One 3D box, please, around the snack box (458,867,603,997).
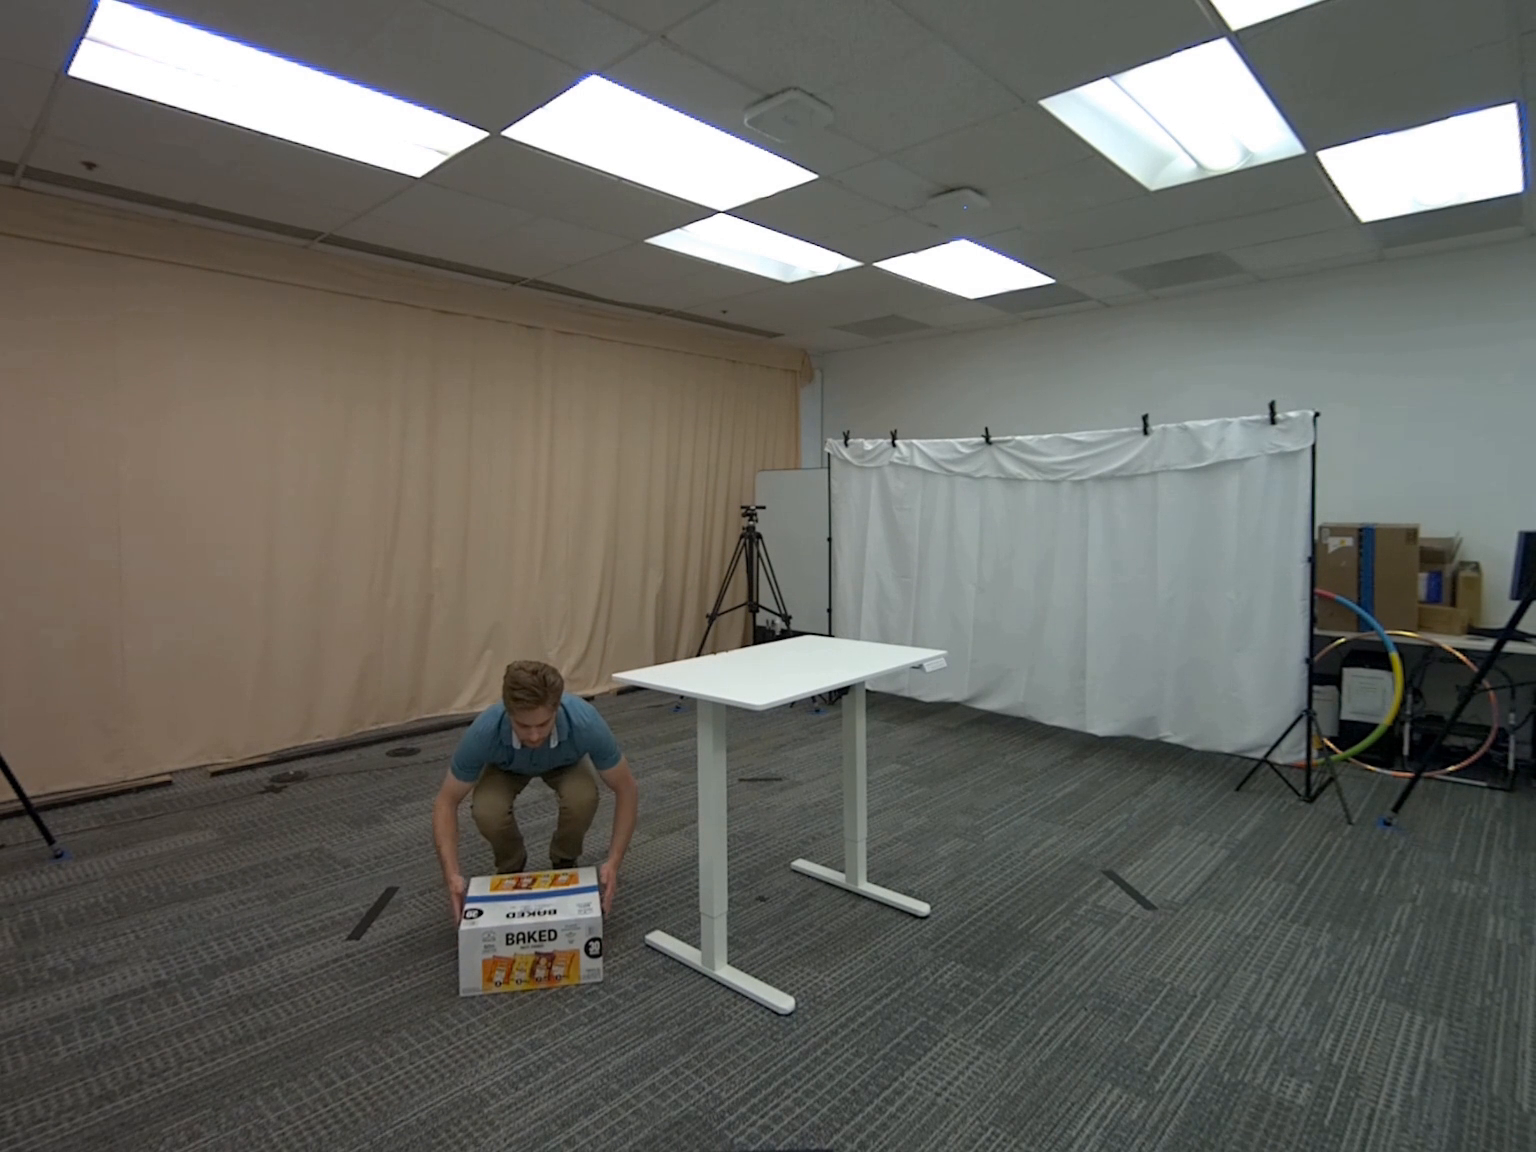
[{"bbox_3d":[-0.720,1.085,2.581,0.400,0.205,0.346,-2,5,-12],"label":"snack box"}]
